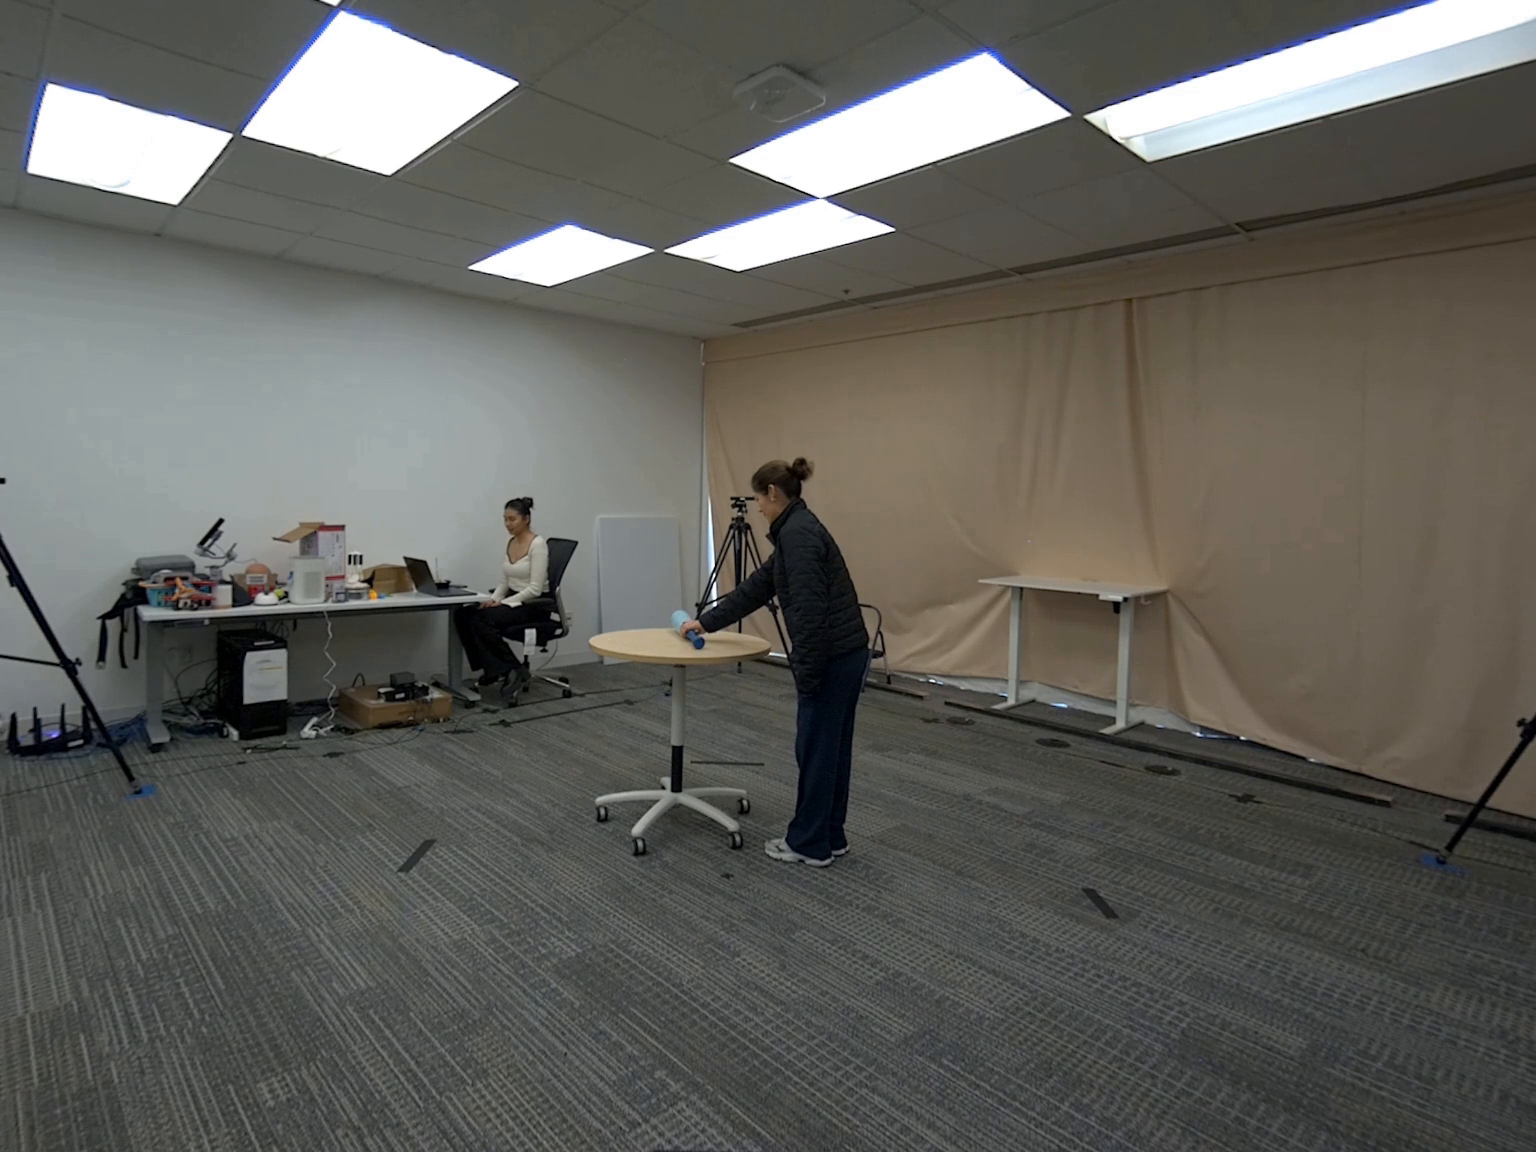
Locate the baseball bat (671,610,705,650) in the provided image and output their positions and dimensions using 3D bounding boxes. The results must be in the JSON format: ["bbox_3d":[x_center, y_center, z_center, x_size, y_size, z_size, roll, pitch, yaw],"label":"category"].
[{"bbox_3d":[-0.356,0.241,3.640,0.088,0.088,0.551,0,8,-14],"label":"baseball bat"}]
